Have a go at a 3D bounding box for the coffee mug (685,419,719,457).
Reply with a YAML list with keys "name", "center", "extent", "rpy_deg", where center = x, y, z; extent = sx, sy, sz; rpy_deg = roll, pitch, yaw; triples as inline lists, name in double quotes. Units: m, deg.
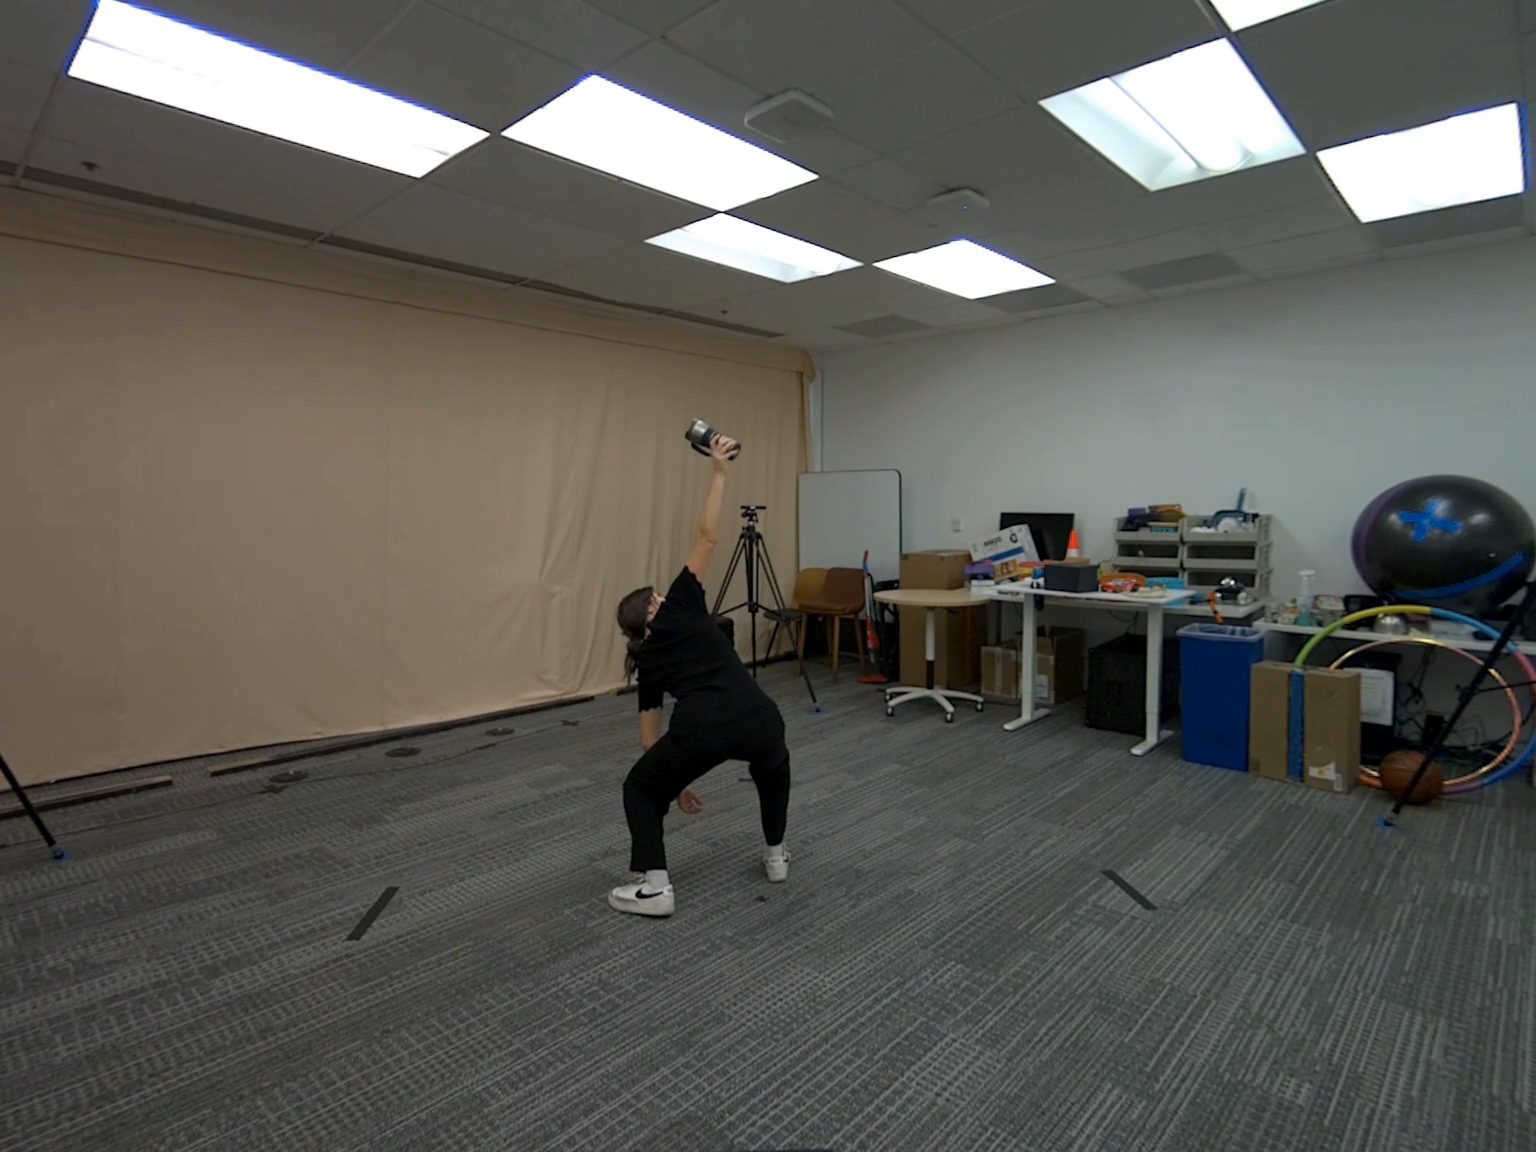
- name: "coffee mug"
  center: [-0.200, -0.501, 3.136]
  extent: [0.205, 0.088, 0.121]
  rpy_deg: [29, -15, 8]
